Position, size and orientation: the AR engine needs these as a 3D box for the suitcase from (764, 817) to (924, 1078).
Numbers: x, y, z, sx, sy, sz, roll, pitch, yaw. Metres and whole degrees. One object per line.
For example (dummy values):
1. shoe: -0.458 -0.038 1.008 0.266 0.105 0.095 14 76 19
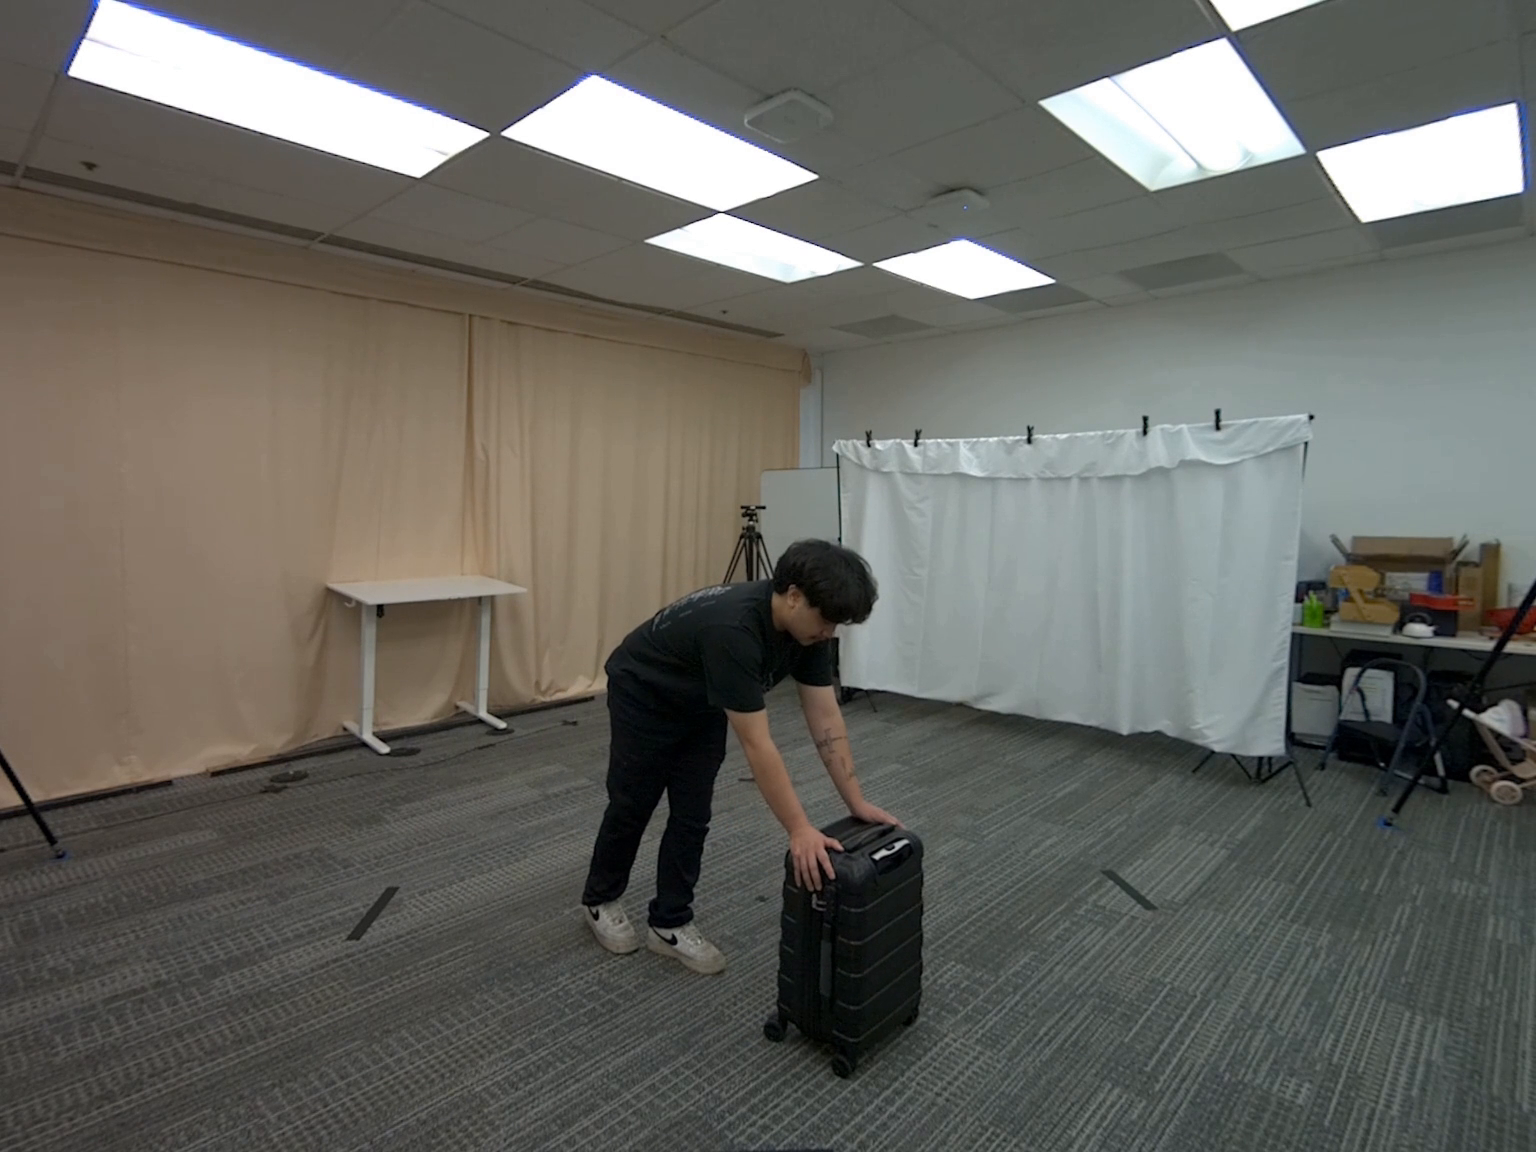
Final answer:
1. suitcase: 0.225 0.937 2.205 0.257 0.548 0.364 6 6 42
